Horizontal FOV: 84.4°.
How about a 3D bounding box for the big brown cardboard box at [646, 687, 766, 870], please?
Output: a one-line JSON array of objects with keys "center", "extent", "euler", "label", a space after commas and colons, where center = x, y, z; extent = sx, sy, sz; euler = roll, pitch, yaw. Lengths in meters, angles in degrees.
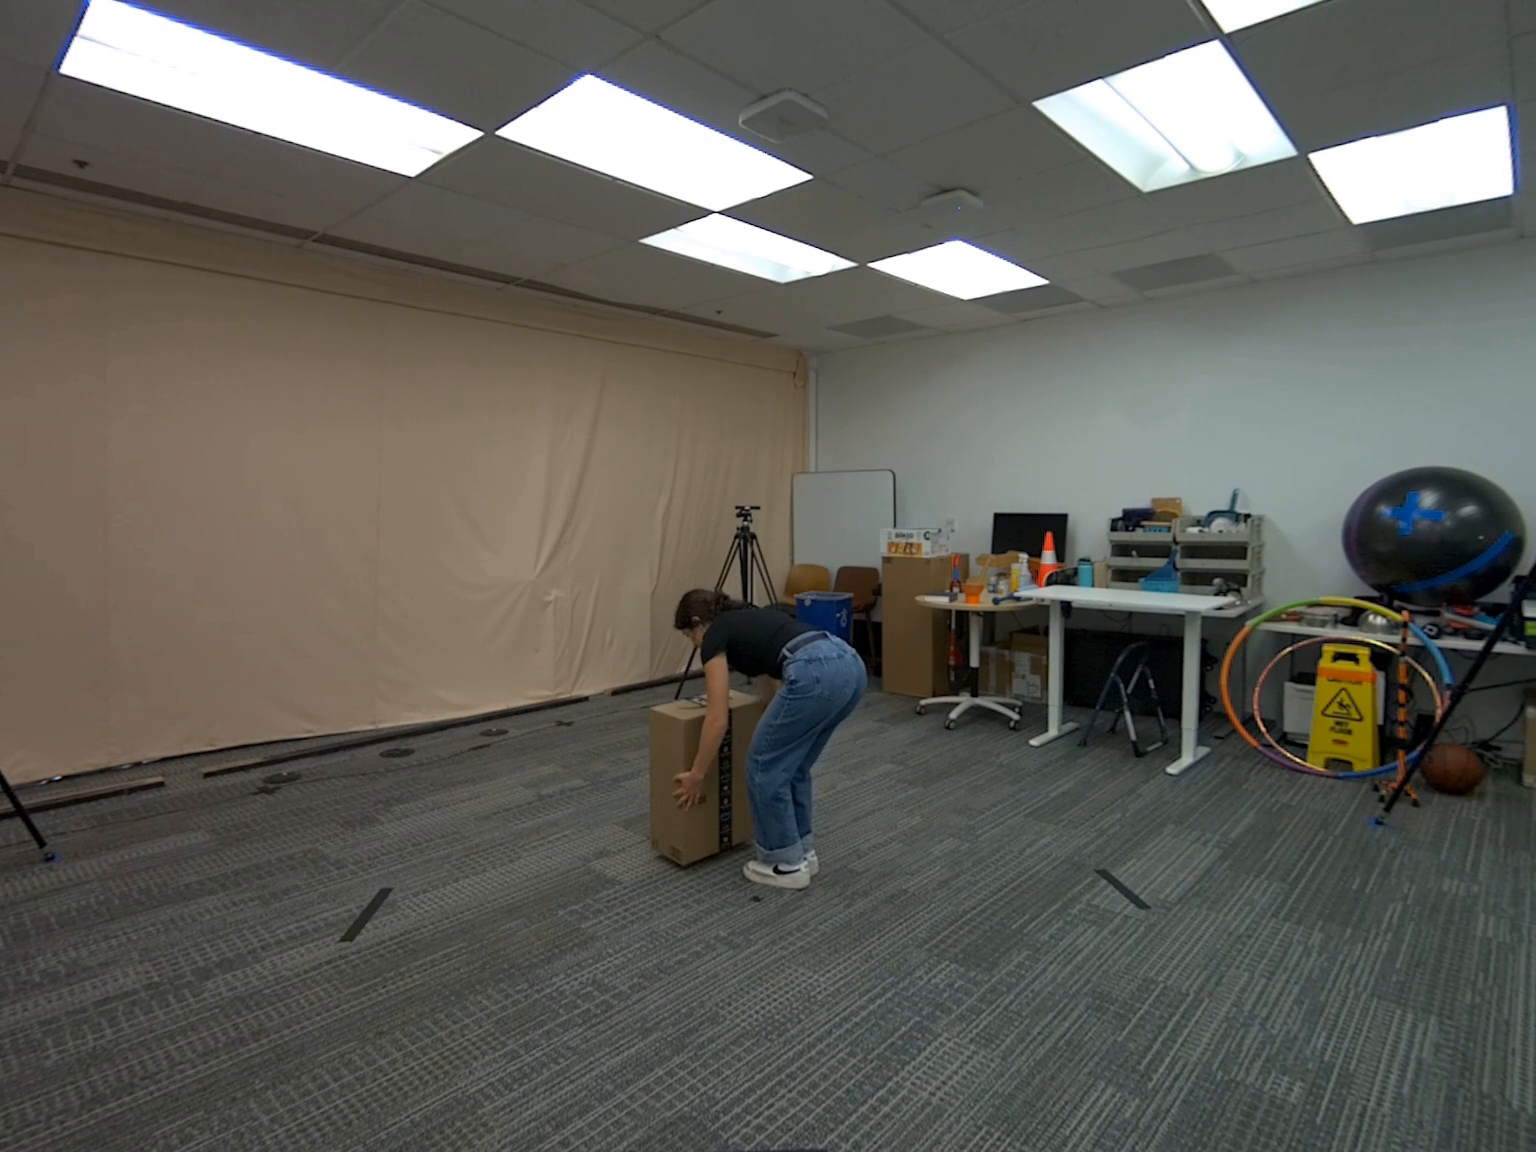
[{"center": [-0.247, 0.781, 3.371], "extent": [0.405, 0.587, 0.241], "euler": [-4, 6, -42], "label": "big brown cardboard box"}]
